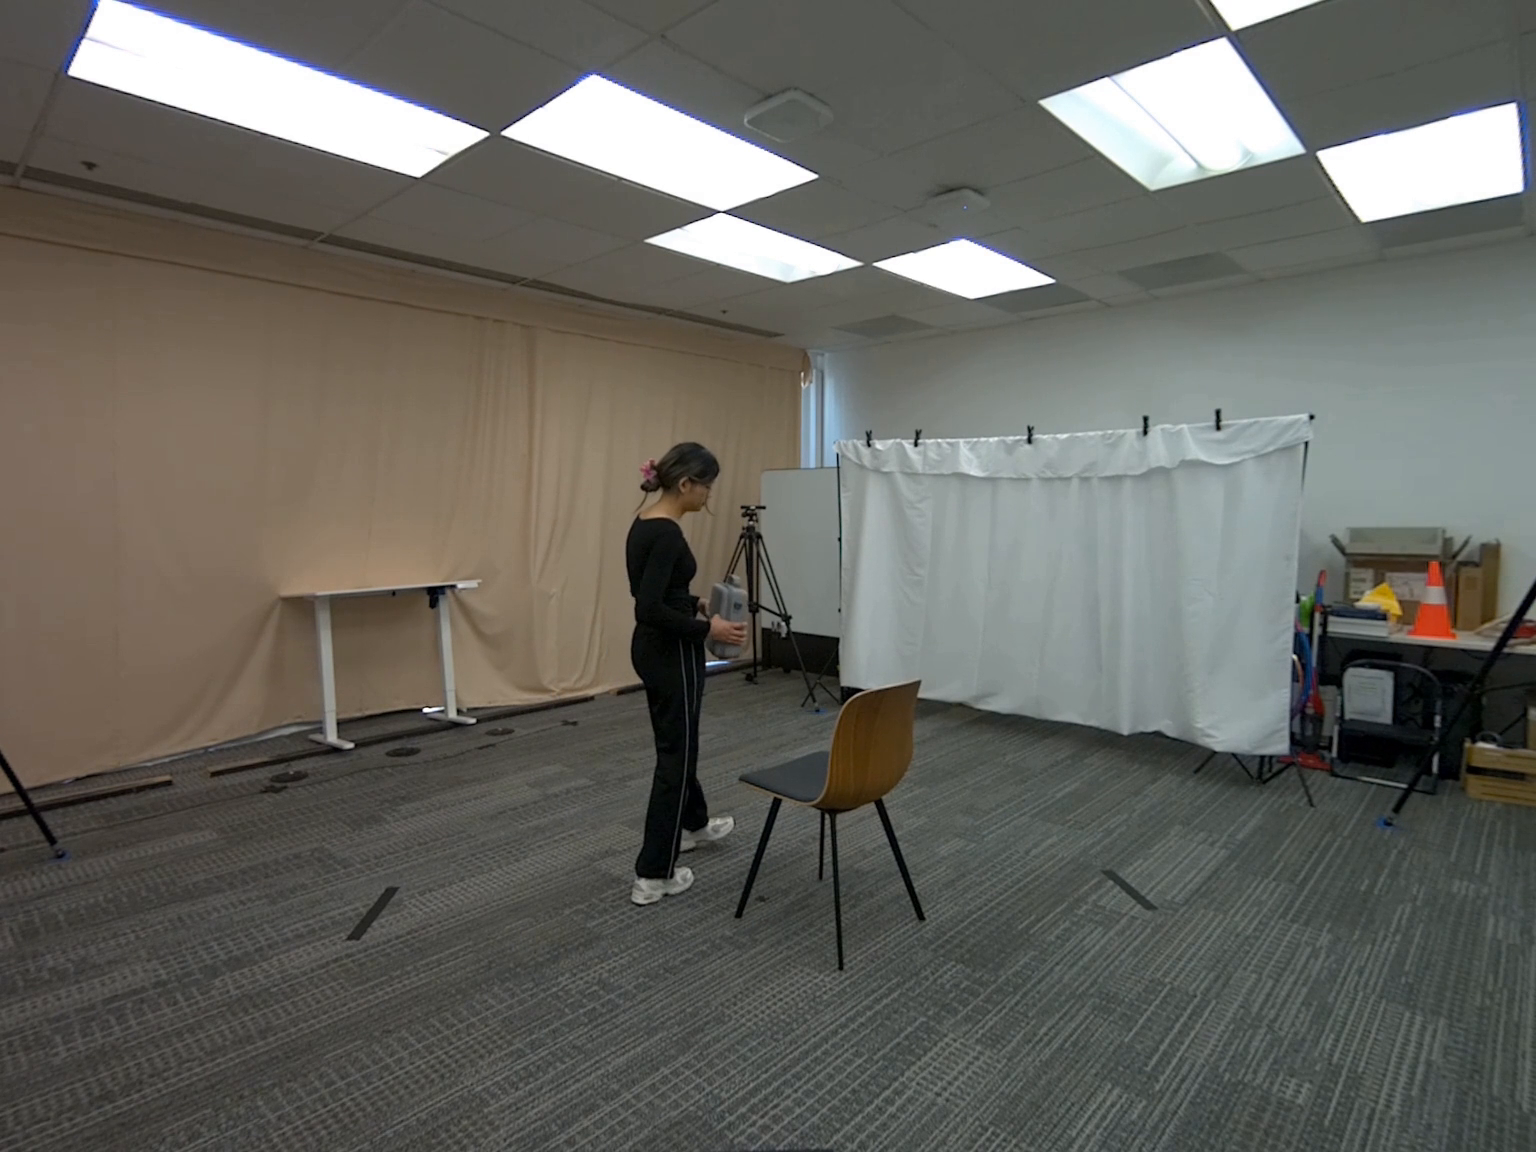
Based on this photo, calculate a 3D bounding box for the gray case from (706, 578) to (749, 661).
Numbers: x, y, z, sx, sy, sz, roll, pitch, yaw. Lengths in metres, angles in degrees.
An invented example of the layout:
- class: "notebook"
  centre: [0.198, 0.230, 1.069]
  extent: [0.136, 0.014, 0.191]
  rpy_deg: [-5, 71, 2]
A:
- class: "gray case"
  centre: [-0.155, 0.152, 3.077]
  extent: [0.103, 0.260, 0.261]
  rpy_deg: [9, 4, -13]
